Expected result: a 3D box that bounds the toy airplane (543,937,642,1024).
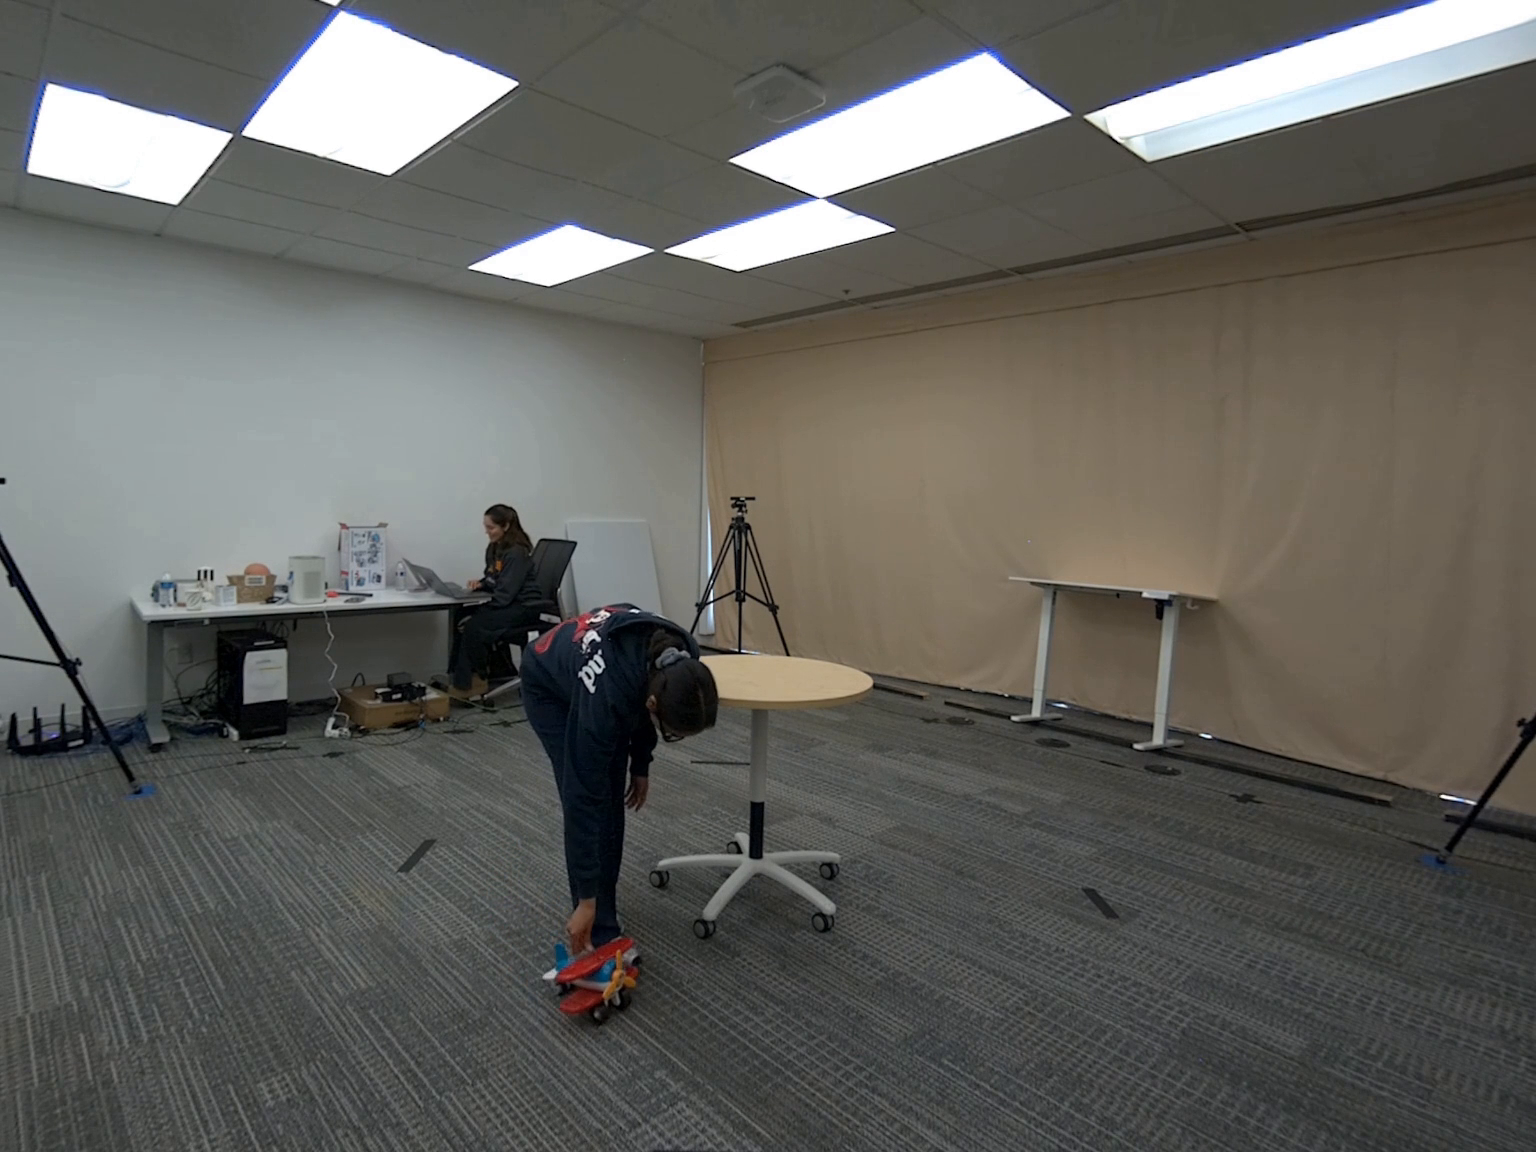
[{"bbox_3d":[-0.507,1.105,2.278,0.261,0.156,0.250,3,5,8],"label":"toy airplane"}]
